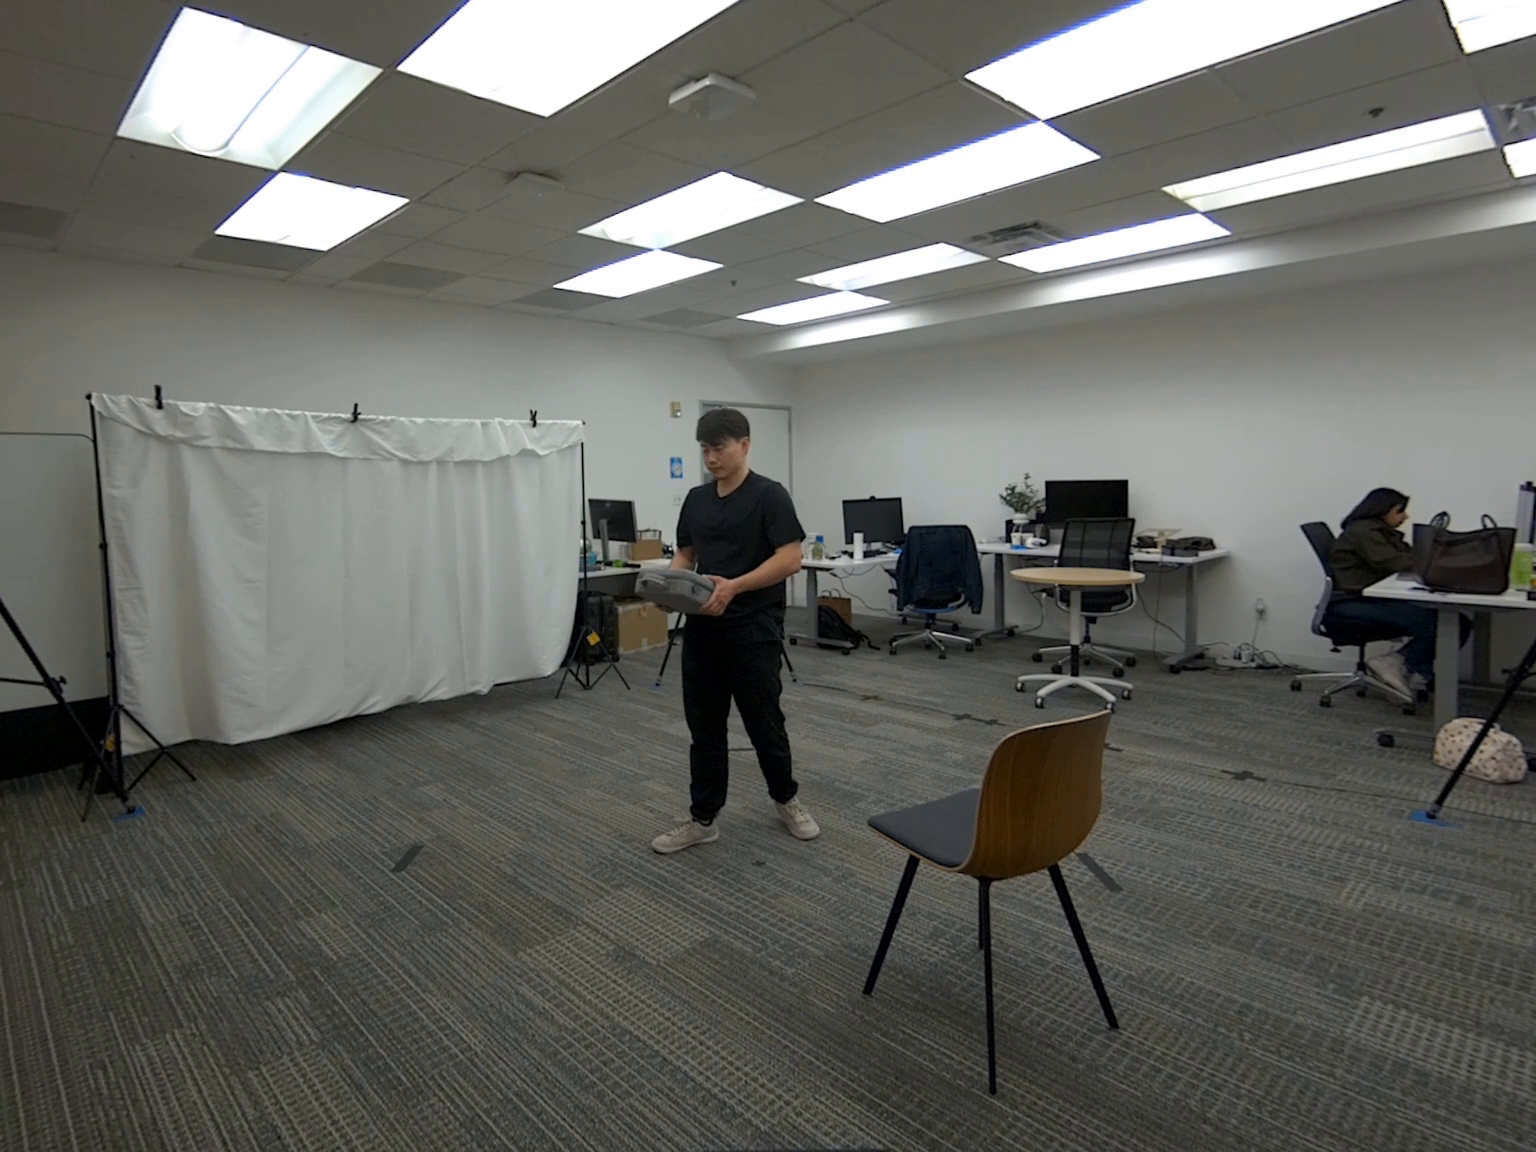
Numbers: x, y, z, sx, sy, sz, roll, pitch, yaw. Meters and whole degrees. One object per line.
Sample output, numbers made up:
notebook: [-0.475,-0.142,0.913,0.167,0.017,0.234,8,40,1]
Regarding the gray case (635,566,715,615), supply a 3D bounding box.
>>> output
gray case: [-0.313,0.055,3.054,0.264,0.105,0.251,3,-18,37]
